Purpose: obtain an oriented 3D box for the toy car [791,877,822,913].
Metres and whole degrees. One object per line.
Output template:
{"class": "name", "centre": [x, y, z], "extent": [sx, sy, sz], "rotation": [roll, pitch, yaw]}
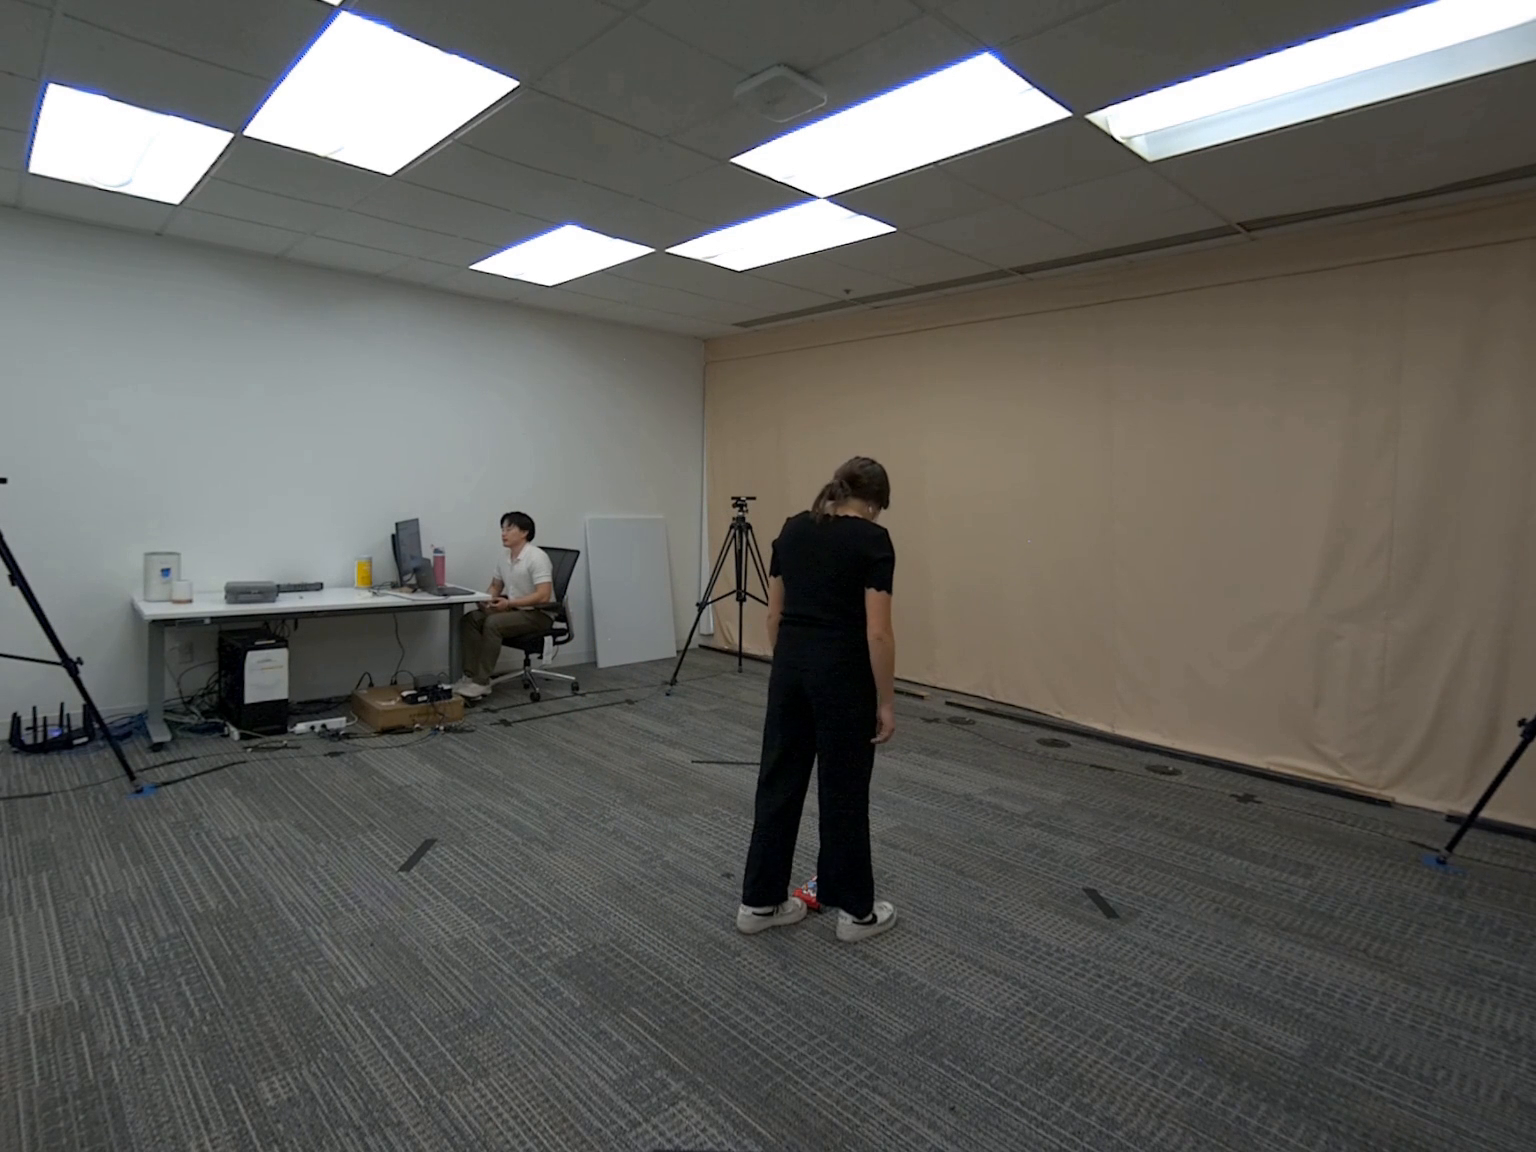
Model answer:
{"class": "toy car", "centre": [0.192, 1.100, 2.943], "extent": [0.133, 0.082, 0.251], "rotation": [6, 18, 36]}
